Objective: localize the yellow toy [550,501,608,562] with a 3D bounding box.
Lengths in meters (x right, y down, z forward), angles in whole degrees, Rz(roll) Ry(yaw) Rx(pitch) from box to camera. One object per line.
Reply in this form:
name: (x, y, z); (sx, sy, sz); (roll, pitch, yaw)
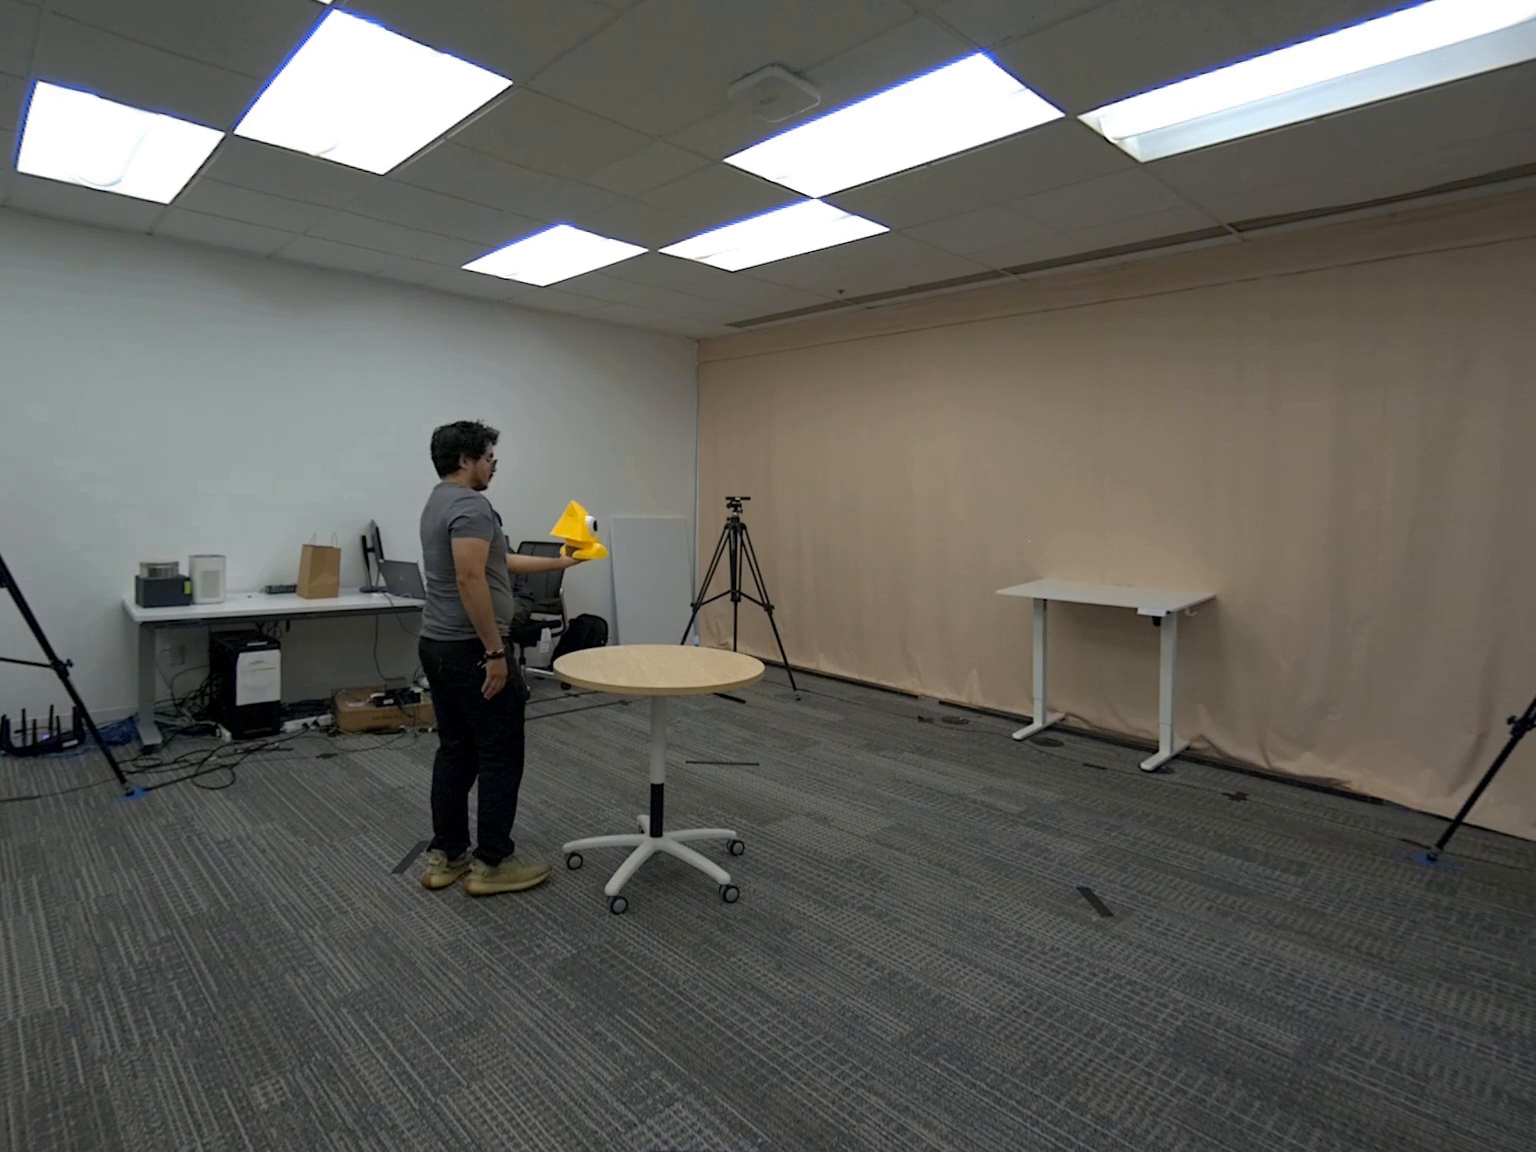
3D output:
yellow toy: (-0.782, -0.203, 3.484); (0.210, 0.229, 0.189); (11, 12, 39)
